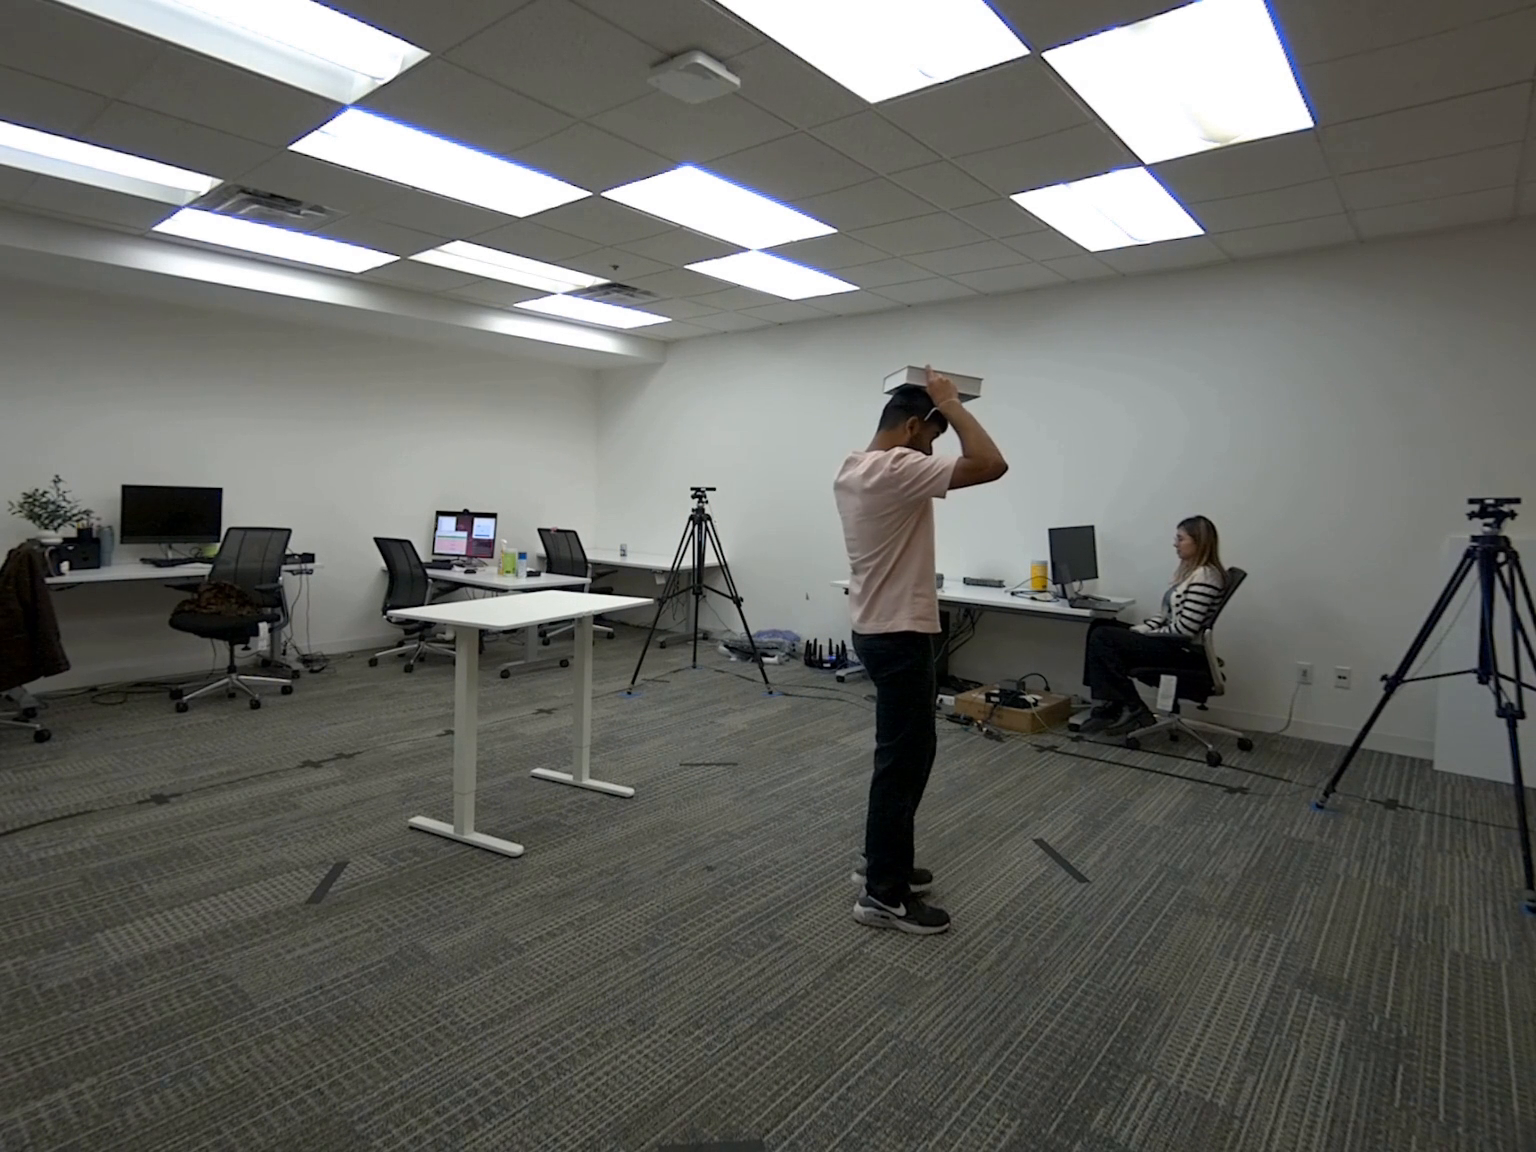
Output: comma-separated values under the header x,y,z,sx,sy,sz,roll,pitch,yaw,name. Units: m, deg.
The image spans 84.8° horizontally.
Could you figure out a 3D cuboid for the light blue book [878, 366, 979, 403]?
x,y,z,sx,sy,sz,roll,pitch,yaw,name
0.518,-0.617,2.751,0.259,0.059,0.193,6,-1,-8,light blue book
